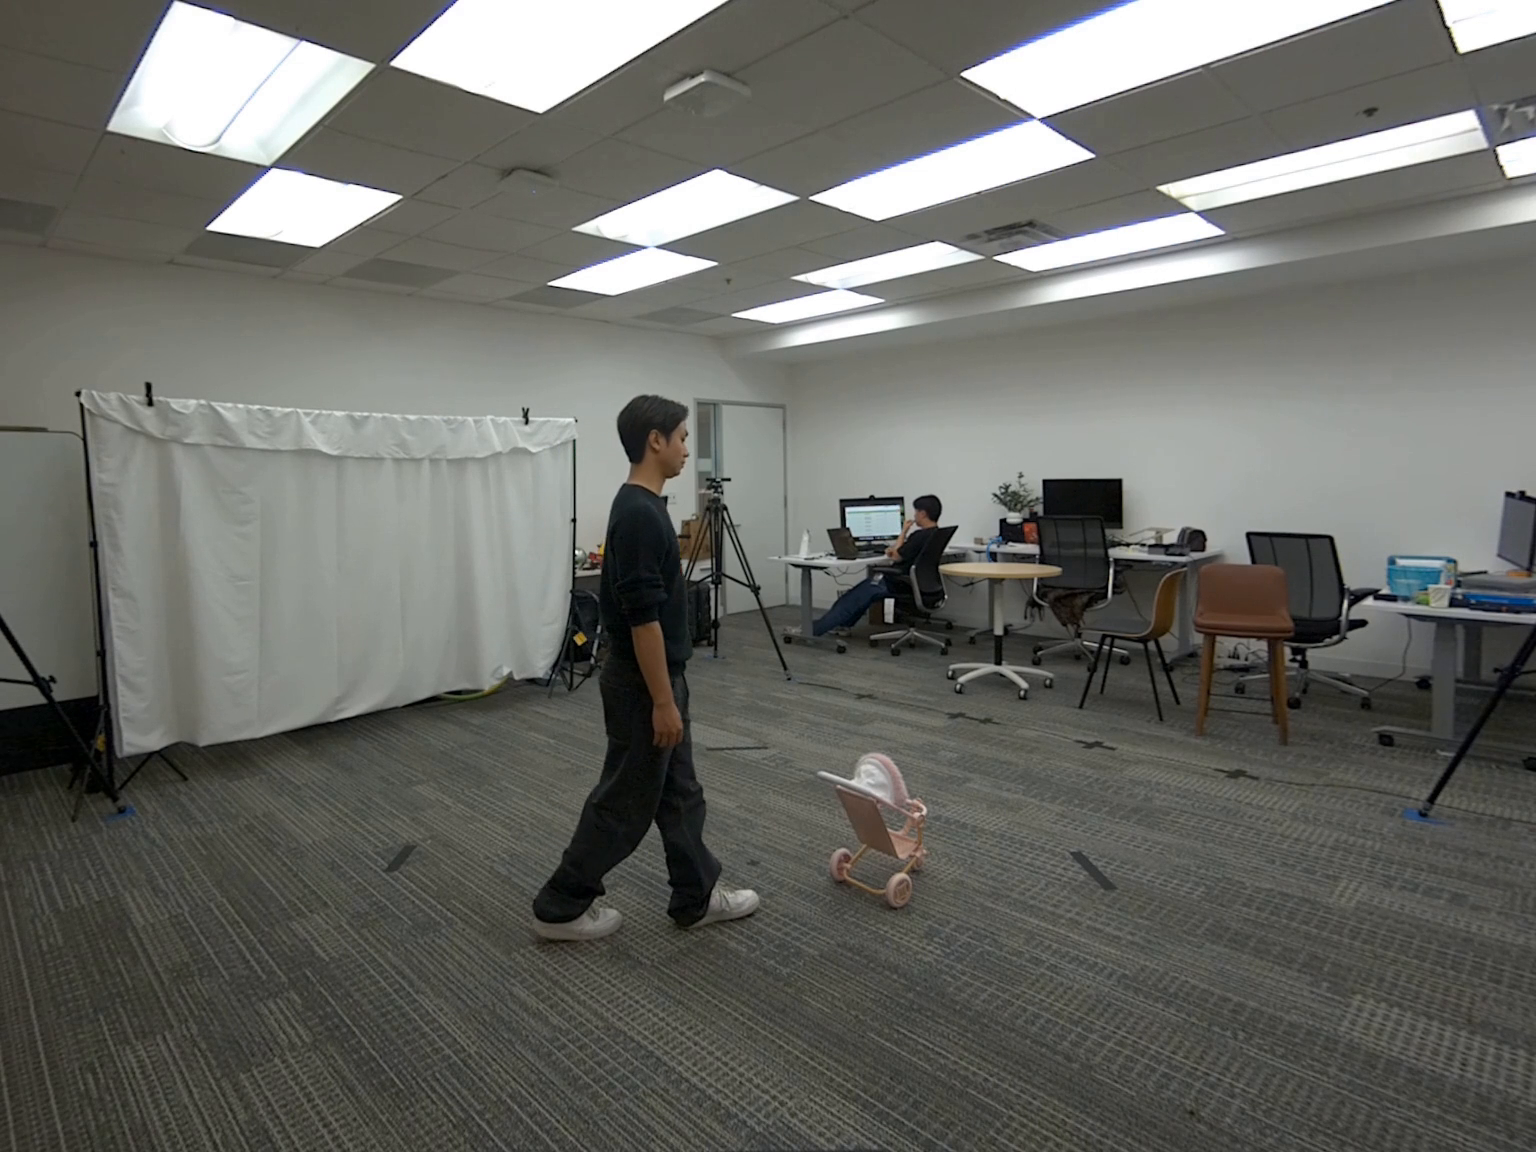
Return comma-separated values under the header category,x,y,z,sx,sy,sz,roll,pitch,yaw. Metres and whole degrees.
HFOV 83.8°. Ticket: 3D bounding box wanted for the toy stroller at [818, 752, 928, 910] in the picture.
category,x,y,z,sx,sy,sz,roll,pitch,yaw
toy stroller,0.388,0.834,2.889,0.336,0.527,0.290,-23,16,-34
